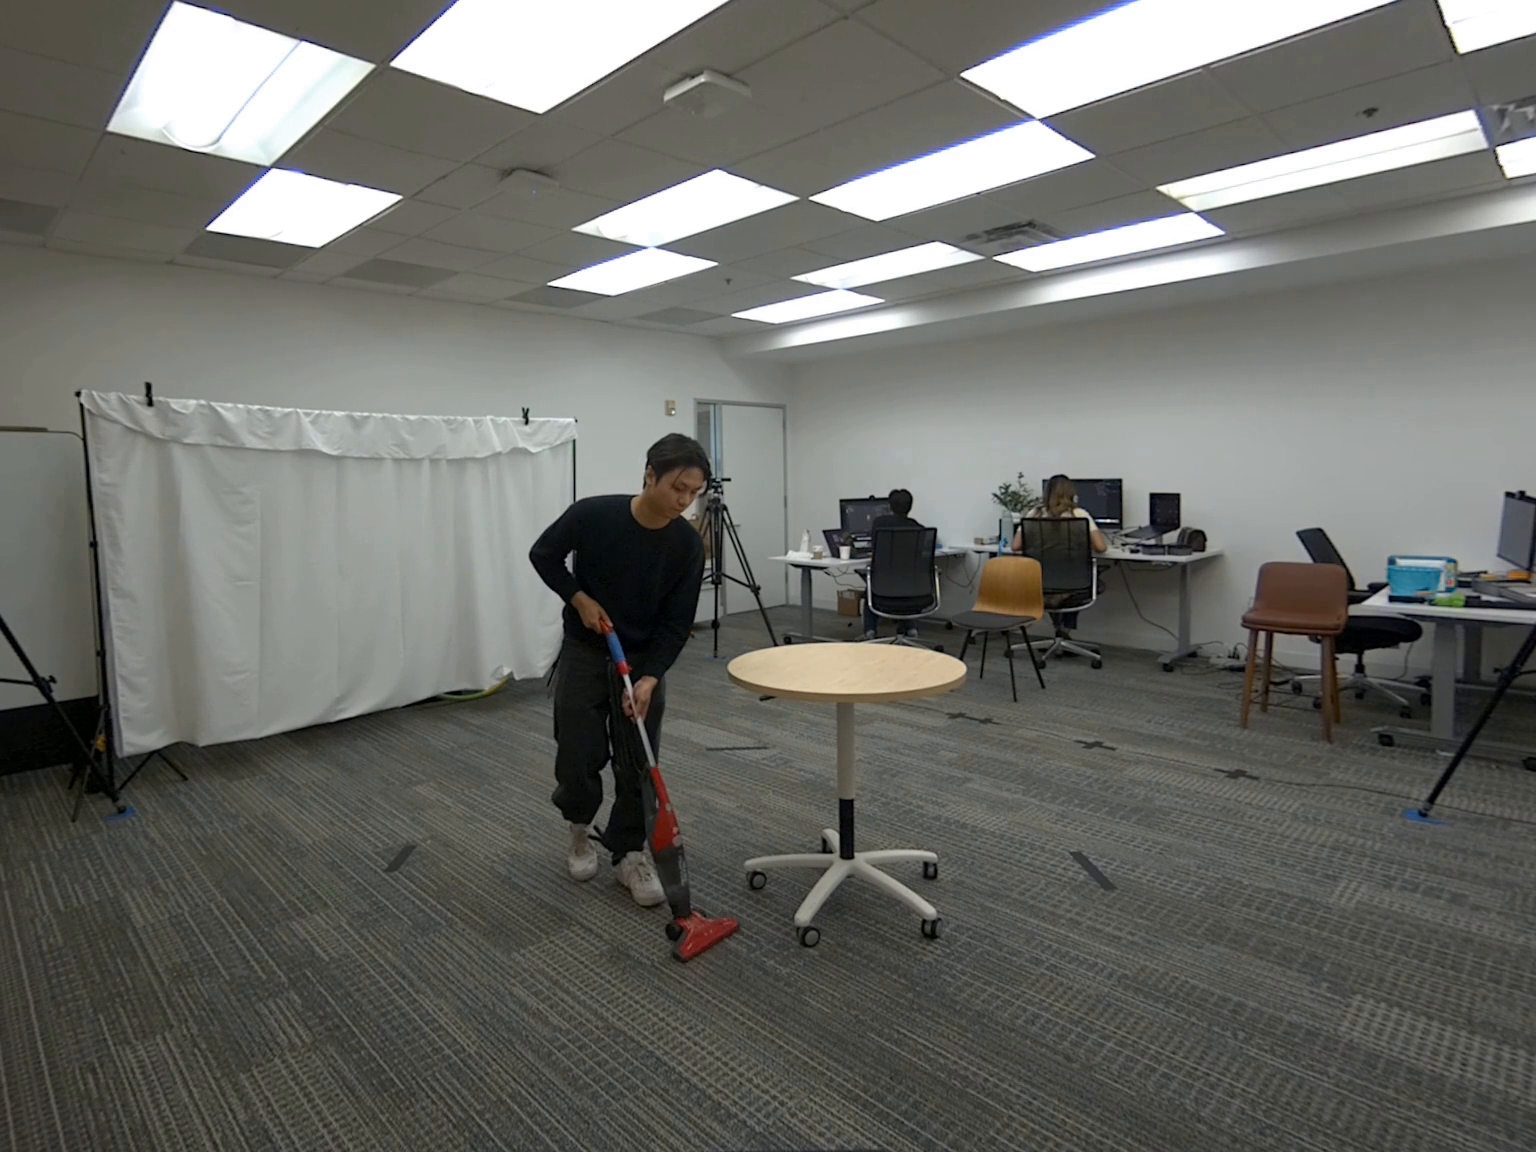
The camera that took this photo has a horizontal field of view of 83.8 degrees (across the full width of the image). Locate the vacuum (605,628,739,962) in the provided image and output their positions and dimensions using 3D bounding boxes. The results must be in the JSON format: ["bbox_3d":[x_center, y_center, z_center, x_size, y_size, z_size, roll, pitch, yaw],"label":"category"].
[{"bbox_3d":[-0.371,0.615,2.695,0.146,1.061,0.246,-25,-11,35],"label":"vacuum"}]
